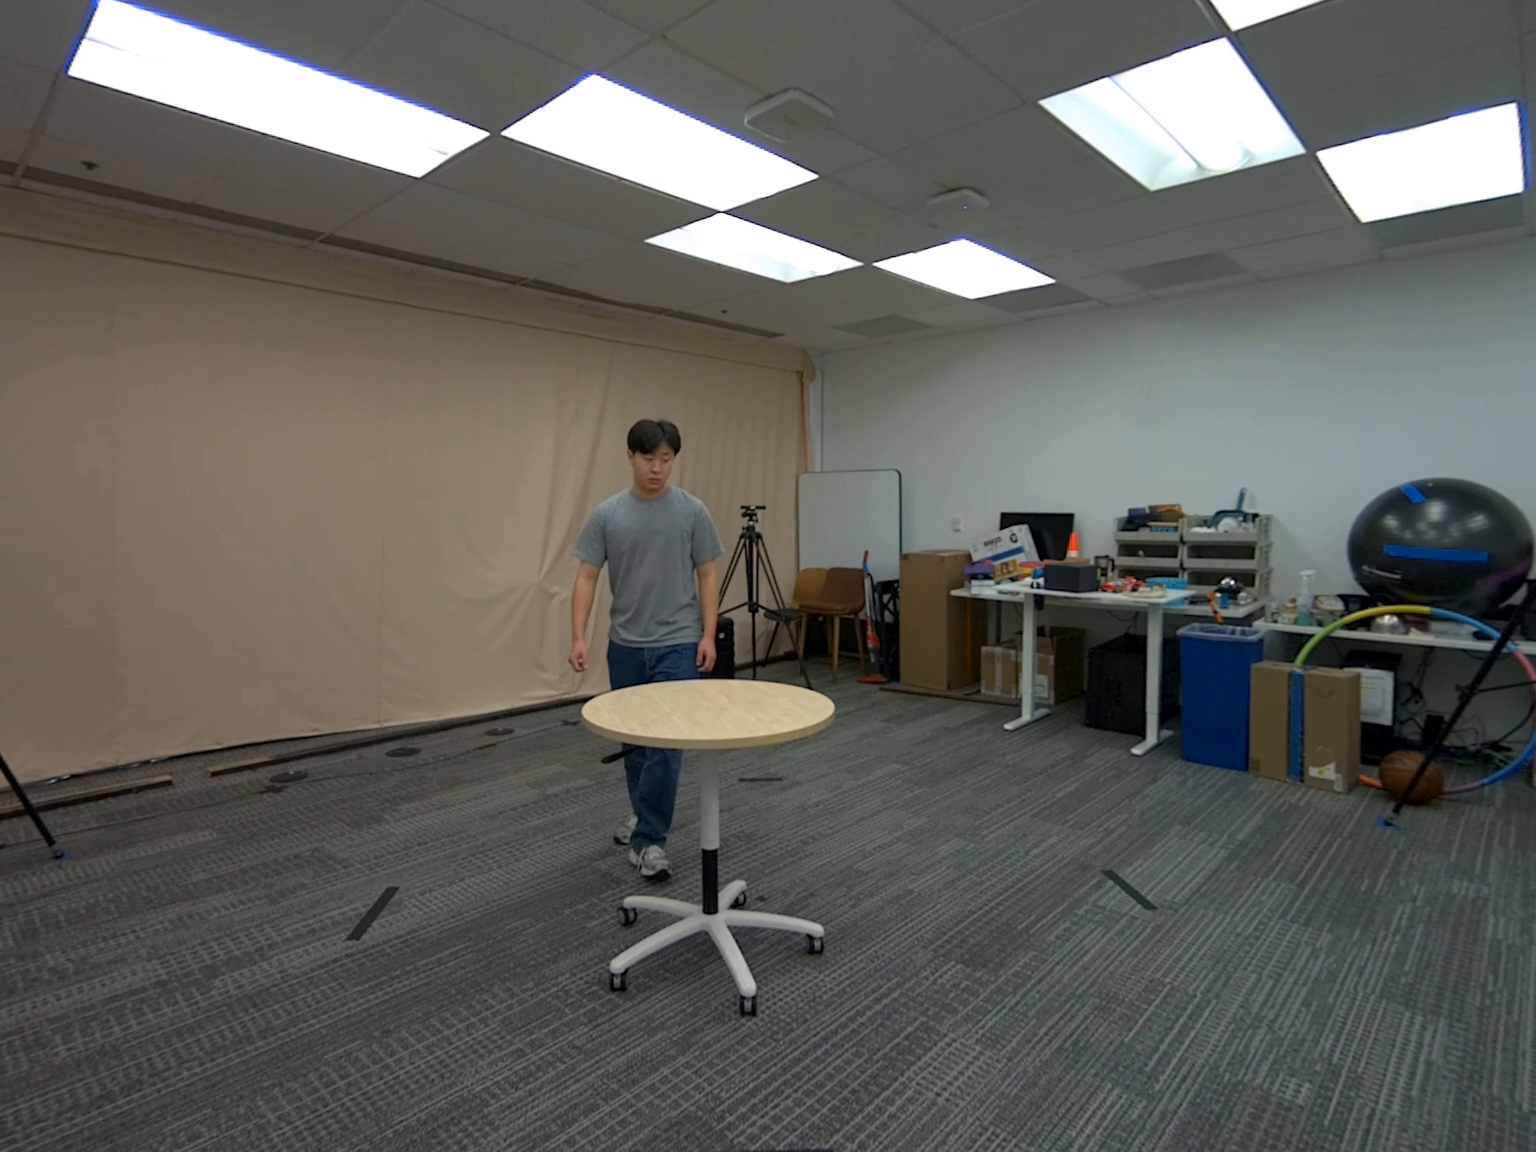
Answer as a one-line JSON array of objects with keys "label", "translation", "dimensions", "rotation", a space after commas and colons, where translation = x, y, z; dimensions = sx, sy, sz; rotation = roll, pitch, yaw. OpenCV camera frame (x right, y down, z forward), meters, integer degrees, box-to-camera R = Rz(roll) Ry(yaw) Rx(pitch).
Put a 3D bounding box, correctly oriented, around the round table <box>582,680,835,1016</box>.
[{"label": "round table", "translation": [-0.172, 0.788, 2.584], "dimensions": [0.763, 0.792, 0.767], "rotation": [-1, 4, -2]}]
